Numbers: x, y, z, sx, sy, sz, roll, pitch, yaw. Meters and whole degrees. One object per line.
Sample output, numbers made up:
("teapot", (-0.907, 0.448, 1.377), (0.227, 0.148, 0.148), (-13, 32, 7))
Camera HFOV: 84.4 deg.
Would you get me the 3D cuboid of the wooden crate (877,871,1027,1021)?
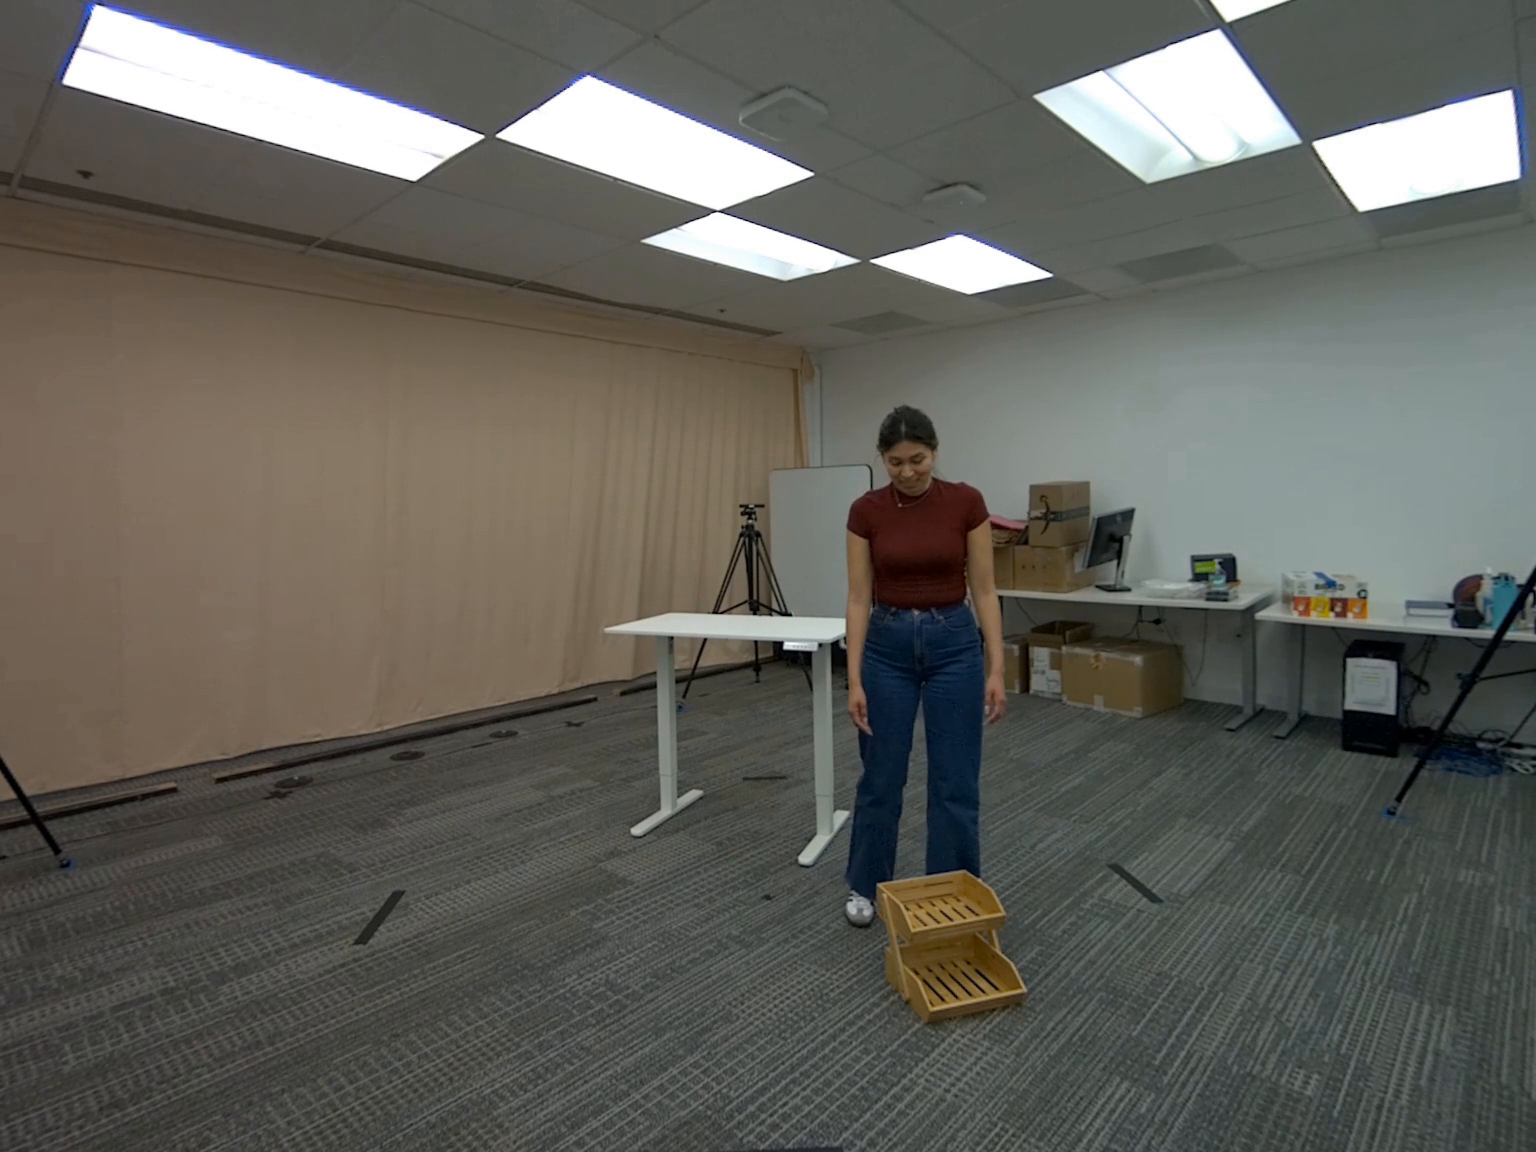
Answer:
("wooden crate", (0.518, 1.039, 2.407), (0.319, 0.273, 0.308), (-3, 4, -18))
